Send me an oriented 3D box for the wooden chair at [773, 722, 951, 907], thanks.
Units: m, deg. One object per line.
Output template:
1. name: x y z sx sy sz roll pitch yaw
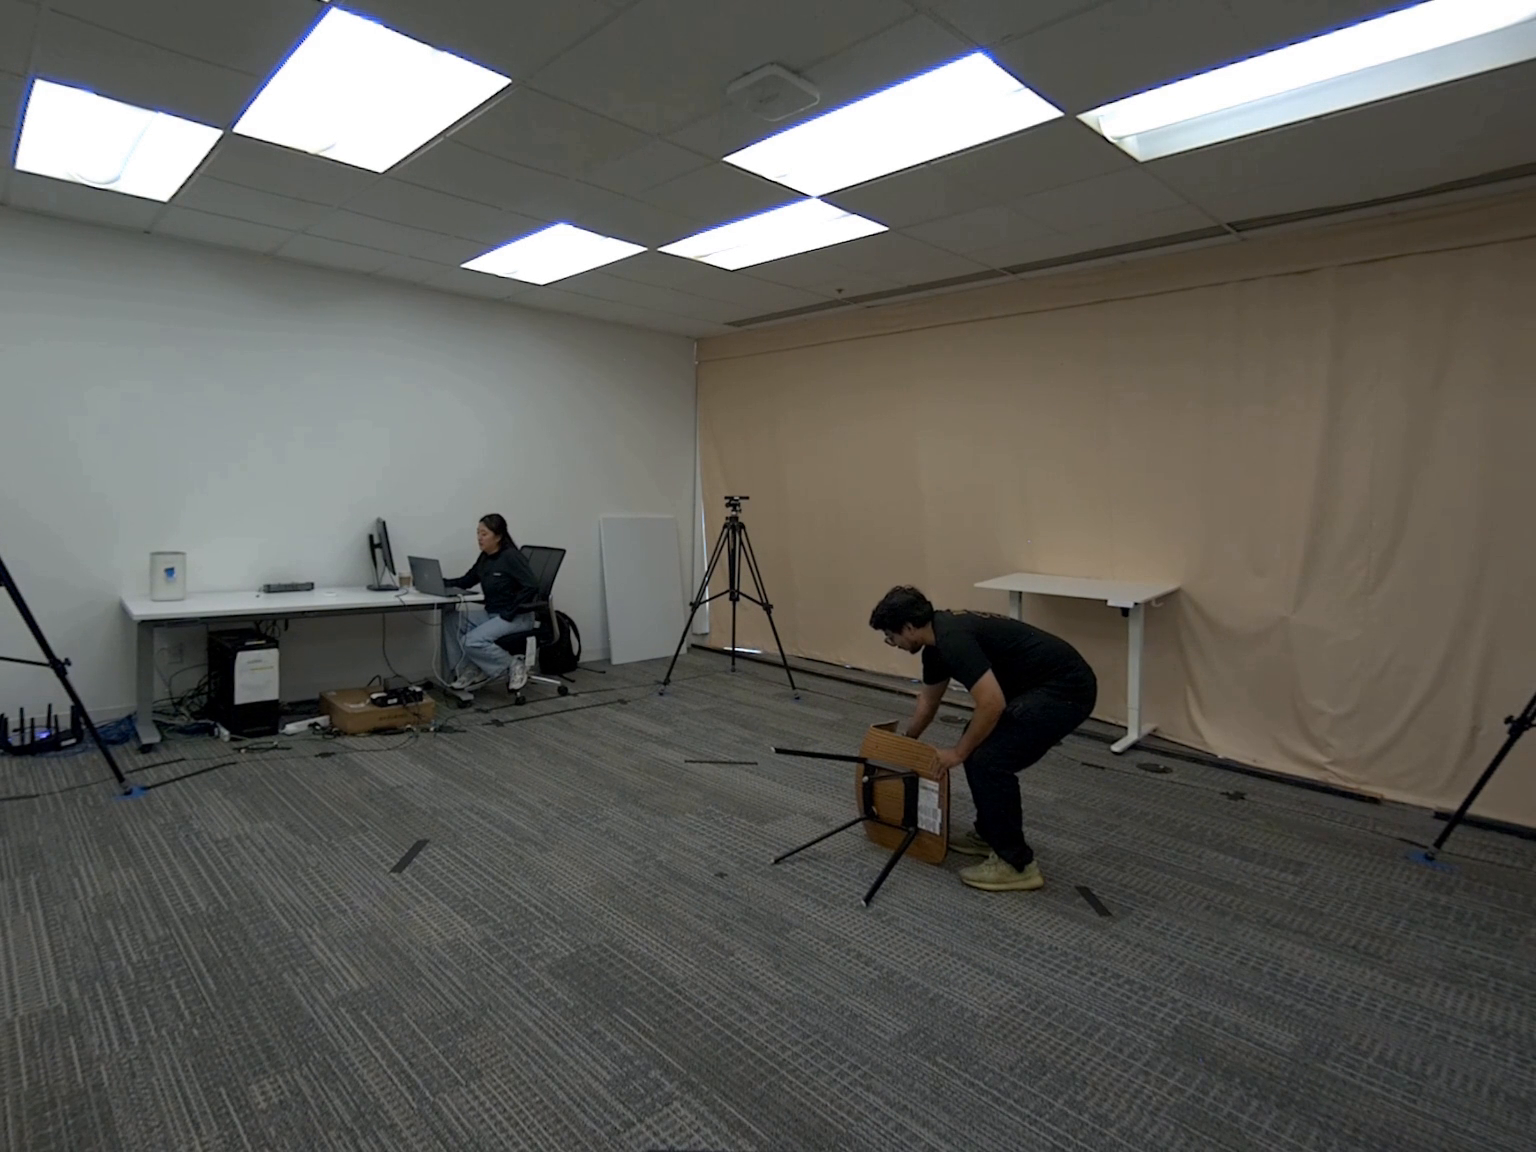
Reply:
1. wooden chair: 0.474 0.866 3.316 0.536 0.477 0.858 5 6 41
